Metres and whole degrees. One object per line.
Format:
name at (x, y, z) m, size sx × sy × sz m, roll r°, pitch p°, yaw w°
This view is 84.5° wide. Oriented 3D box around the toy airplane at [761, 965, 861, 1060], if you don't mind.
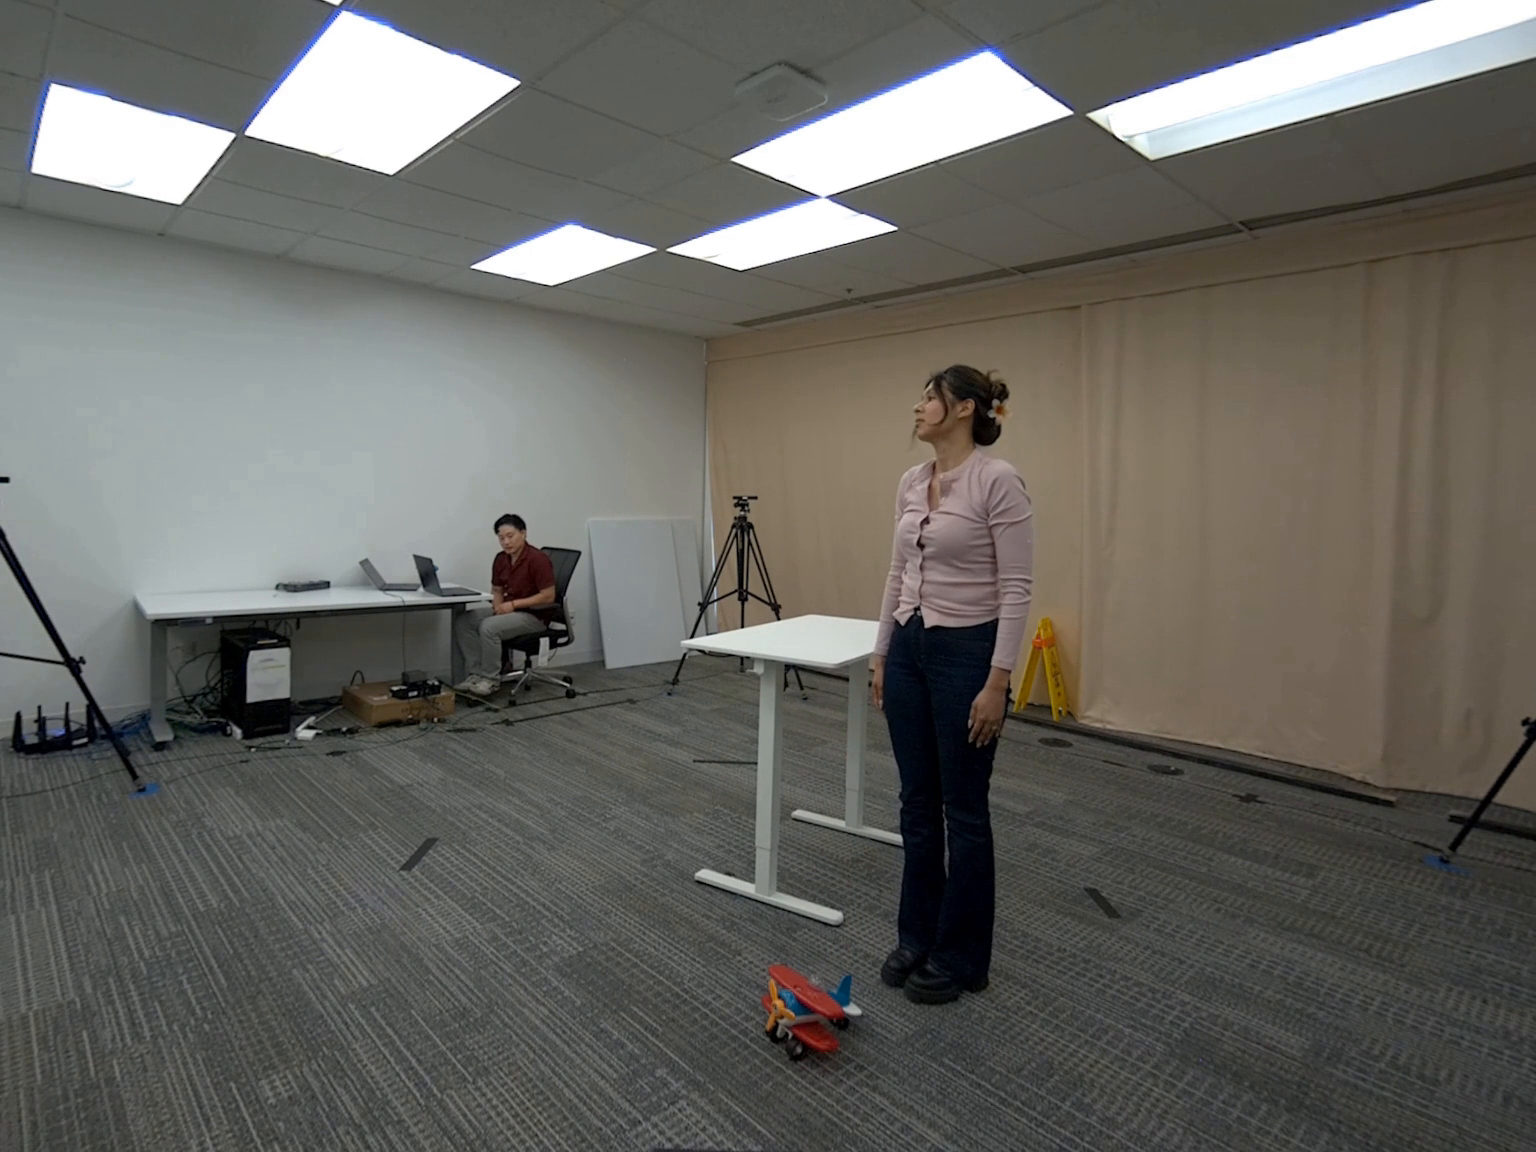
toy airplane at (0.087, 1.126, 2.178) m, size 0.256 × 0.156 × 0.255 m, roll 3°, pitch 6°, yaw 25°
